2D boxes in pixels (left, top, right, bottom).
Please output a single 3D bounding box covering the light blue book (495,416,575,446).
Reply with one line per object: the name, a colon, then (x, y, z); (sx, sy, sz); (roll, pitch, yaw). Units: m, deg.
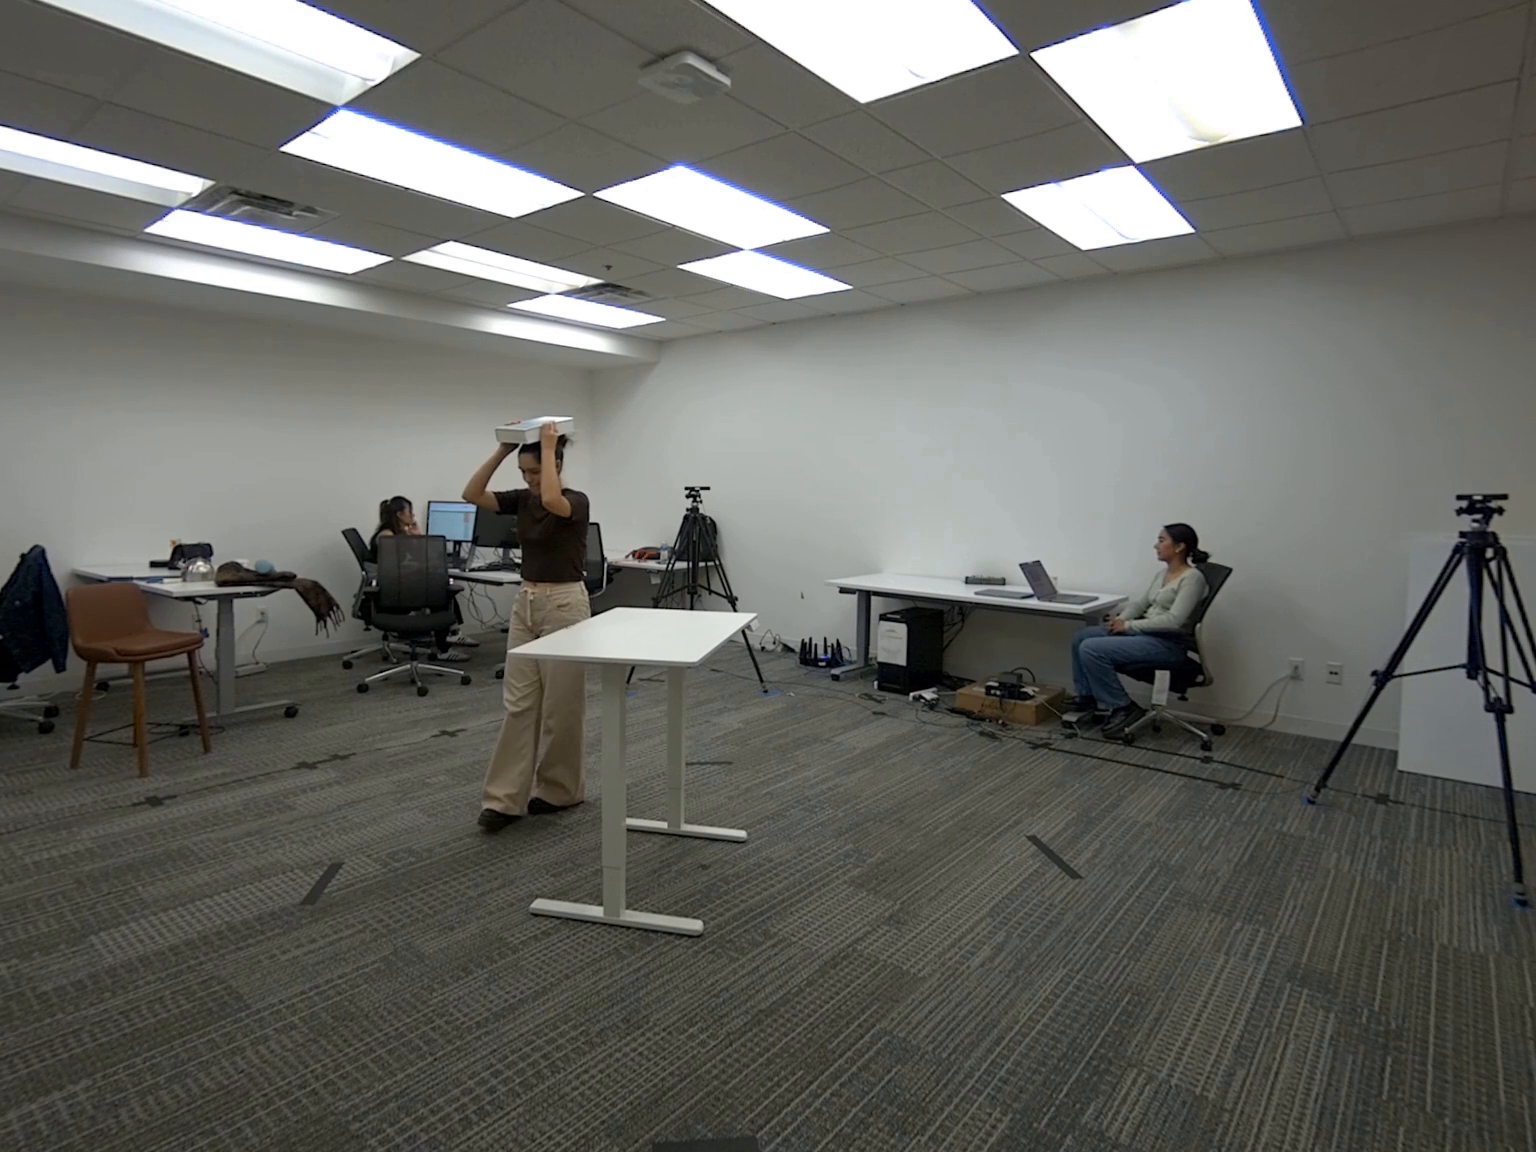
light blue book: (-0.969, -0.606, 3.495); (0.198, 0.058, 0.257); (10, 24, 34)
